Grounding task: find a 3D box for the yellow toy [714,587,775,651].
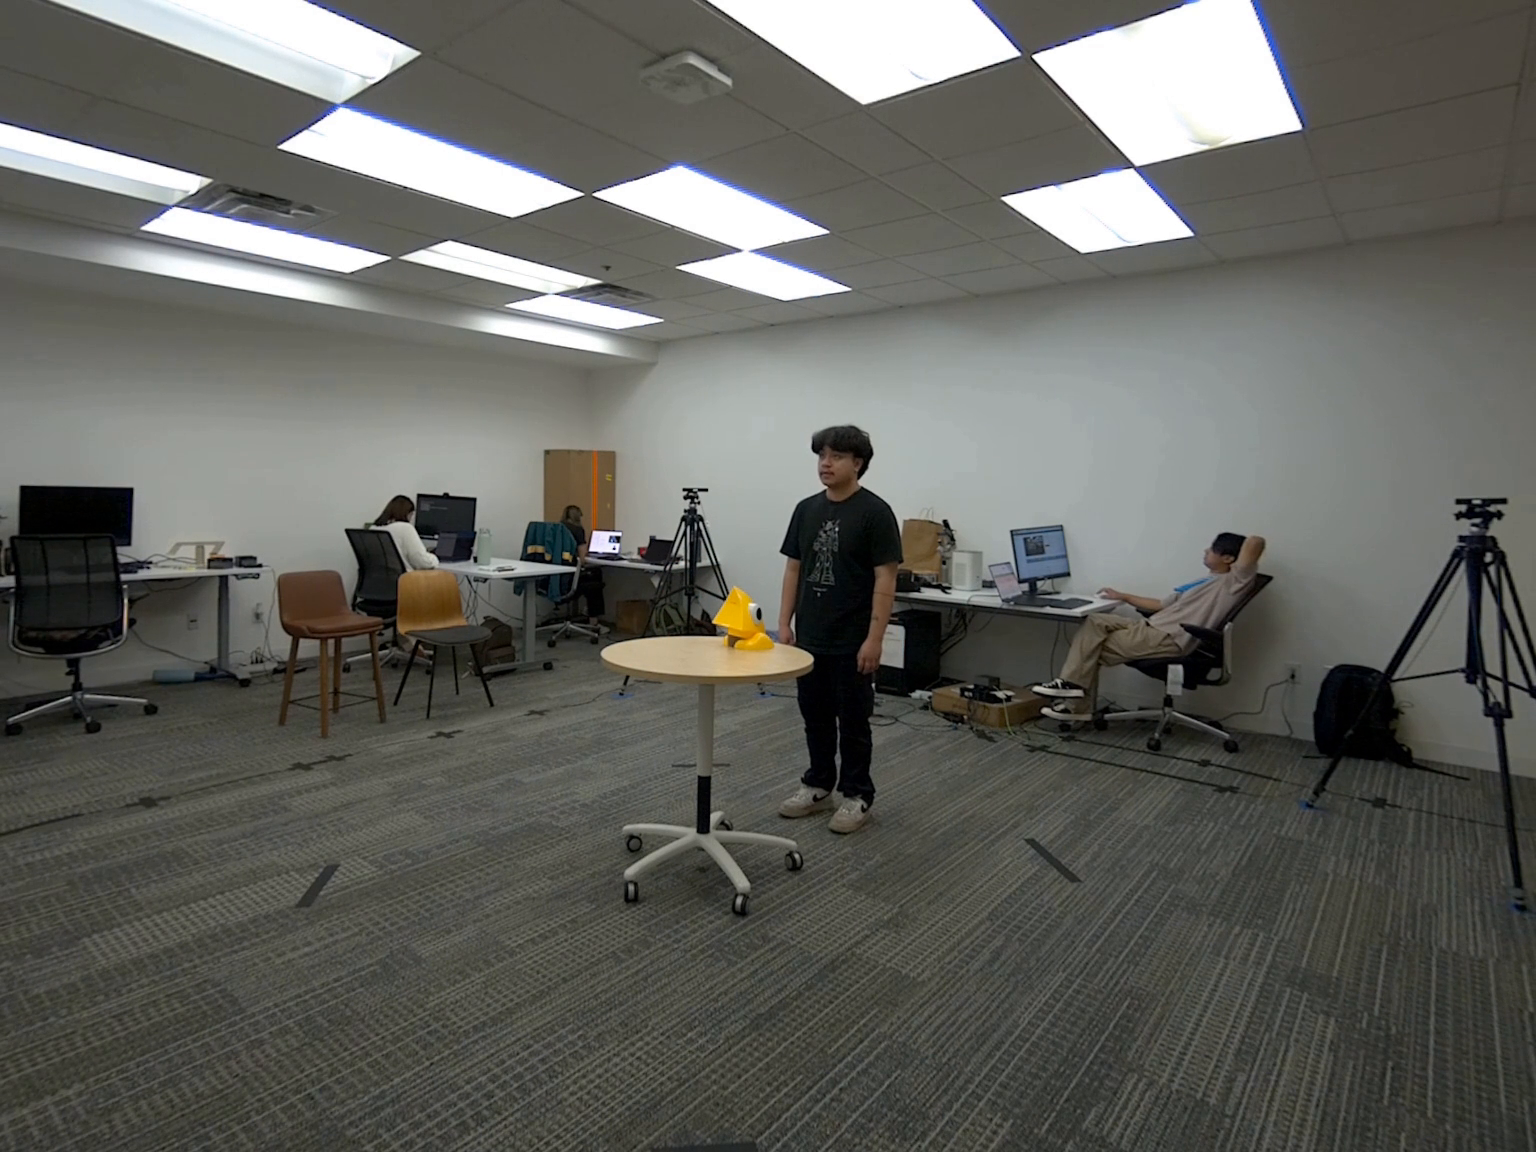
[{"bbox_3d":[-0.096,0.151,3.271,0.187,0.230,0.211,0,4,-36],"label":"yellow toy"}]
